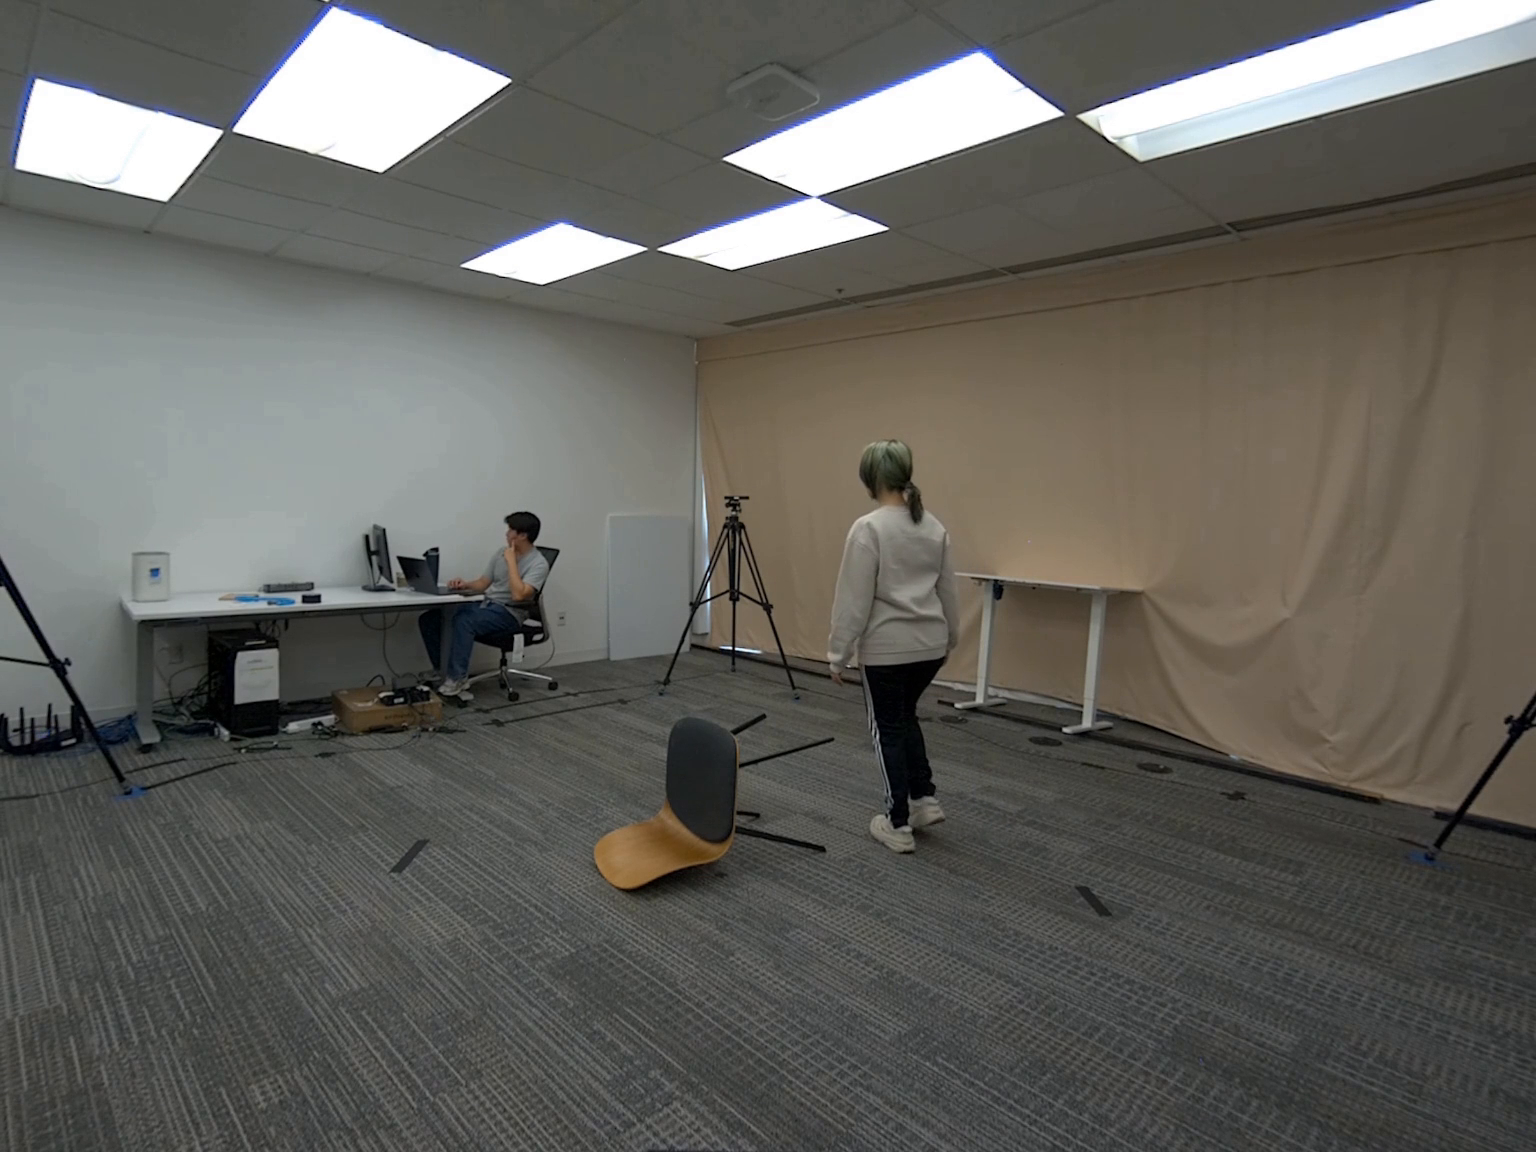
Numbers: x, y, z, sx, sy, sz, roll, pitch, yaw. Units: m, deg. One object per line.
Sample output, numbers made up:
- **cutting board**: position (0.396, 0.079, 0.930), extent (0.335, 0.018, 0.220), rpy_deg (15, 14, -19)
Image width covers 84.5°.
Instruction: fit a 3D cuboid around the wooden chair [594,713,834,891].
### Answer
- **wooden chair**: position (-0.234, 0.830, 3.265), extent (0.858, 0.521, 0.490), rpy_deg (-3, 6, -36)
